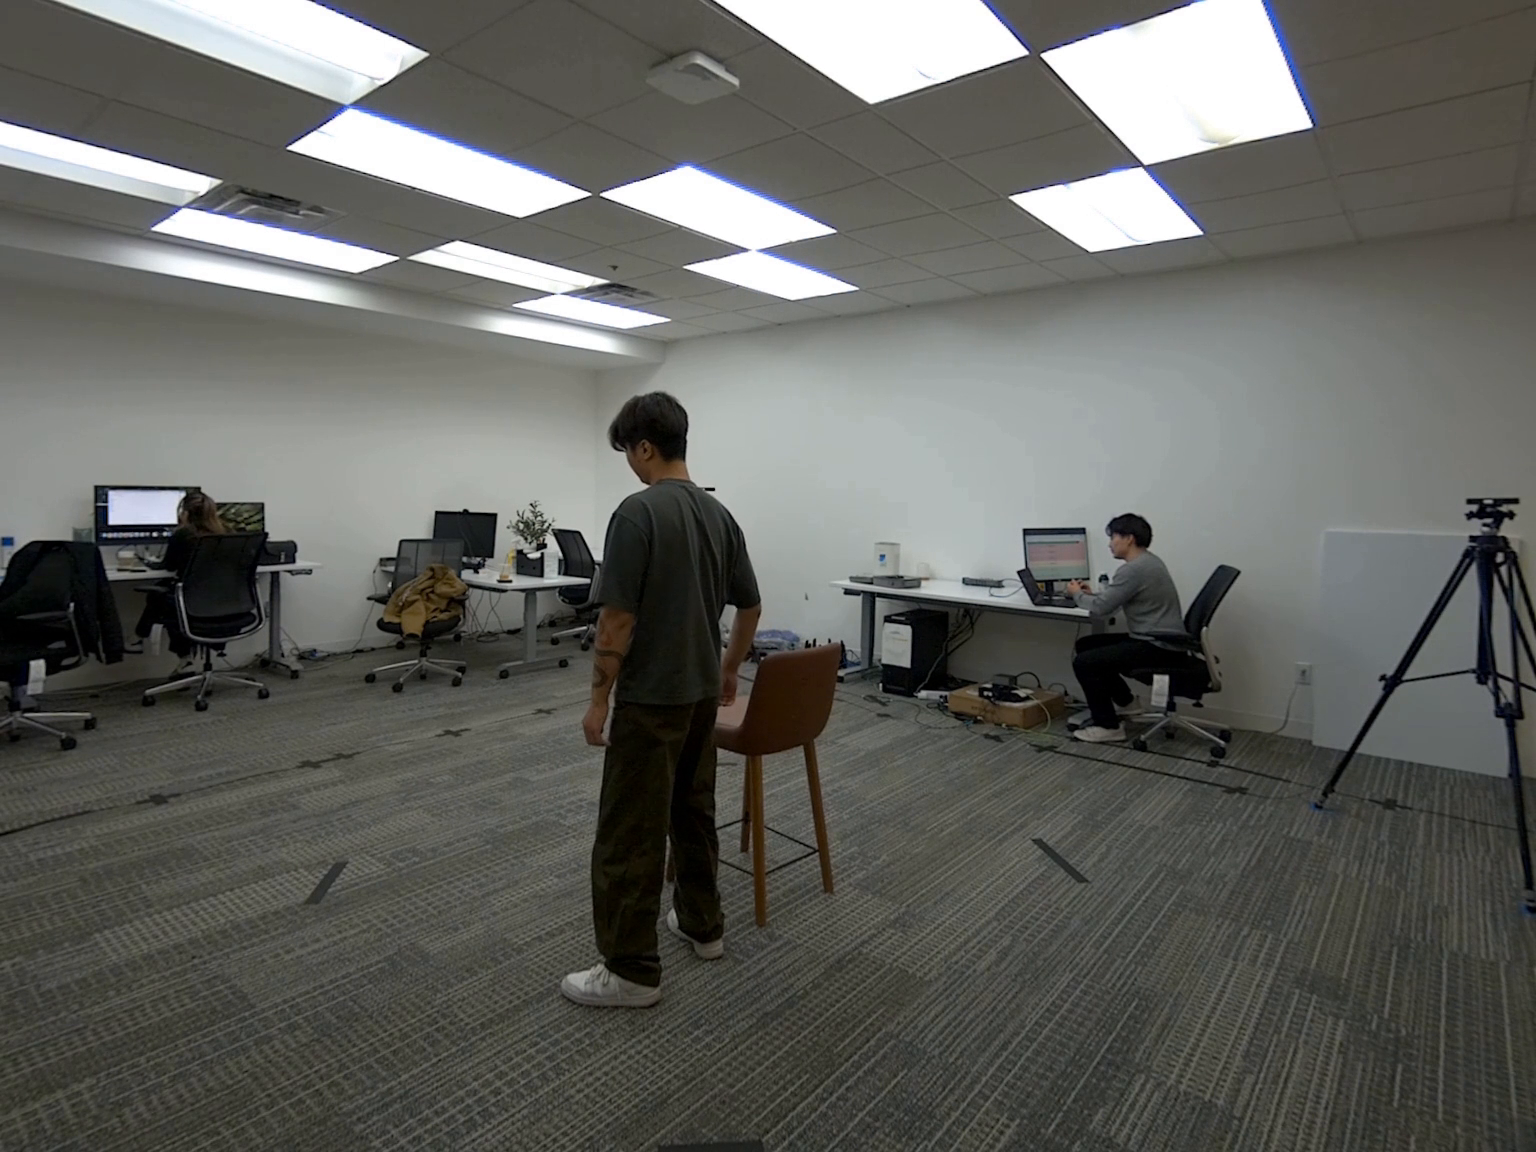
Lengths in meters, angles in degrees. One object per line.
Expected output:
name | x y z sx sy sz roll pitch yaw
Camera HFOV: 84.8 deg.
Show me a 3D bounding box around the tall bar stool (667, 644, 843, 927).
tall bar stool | -0.051 0.650 2.962 0.484 0.886 0.442 7 6 44
